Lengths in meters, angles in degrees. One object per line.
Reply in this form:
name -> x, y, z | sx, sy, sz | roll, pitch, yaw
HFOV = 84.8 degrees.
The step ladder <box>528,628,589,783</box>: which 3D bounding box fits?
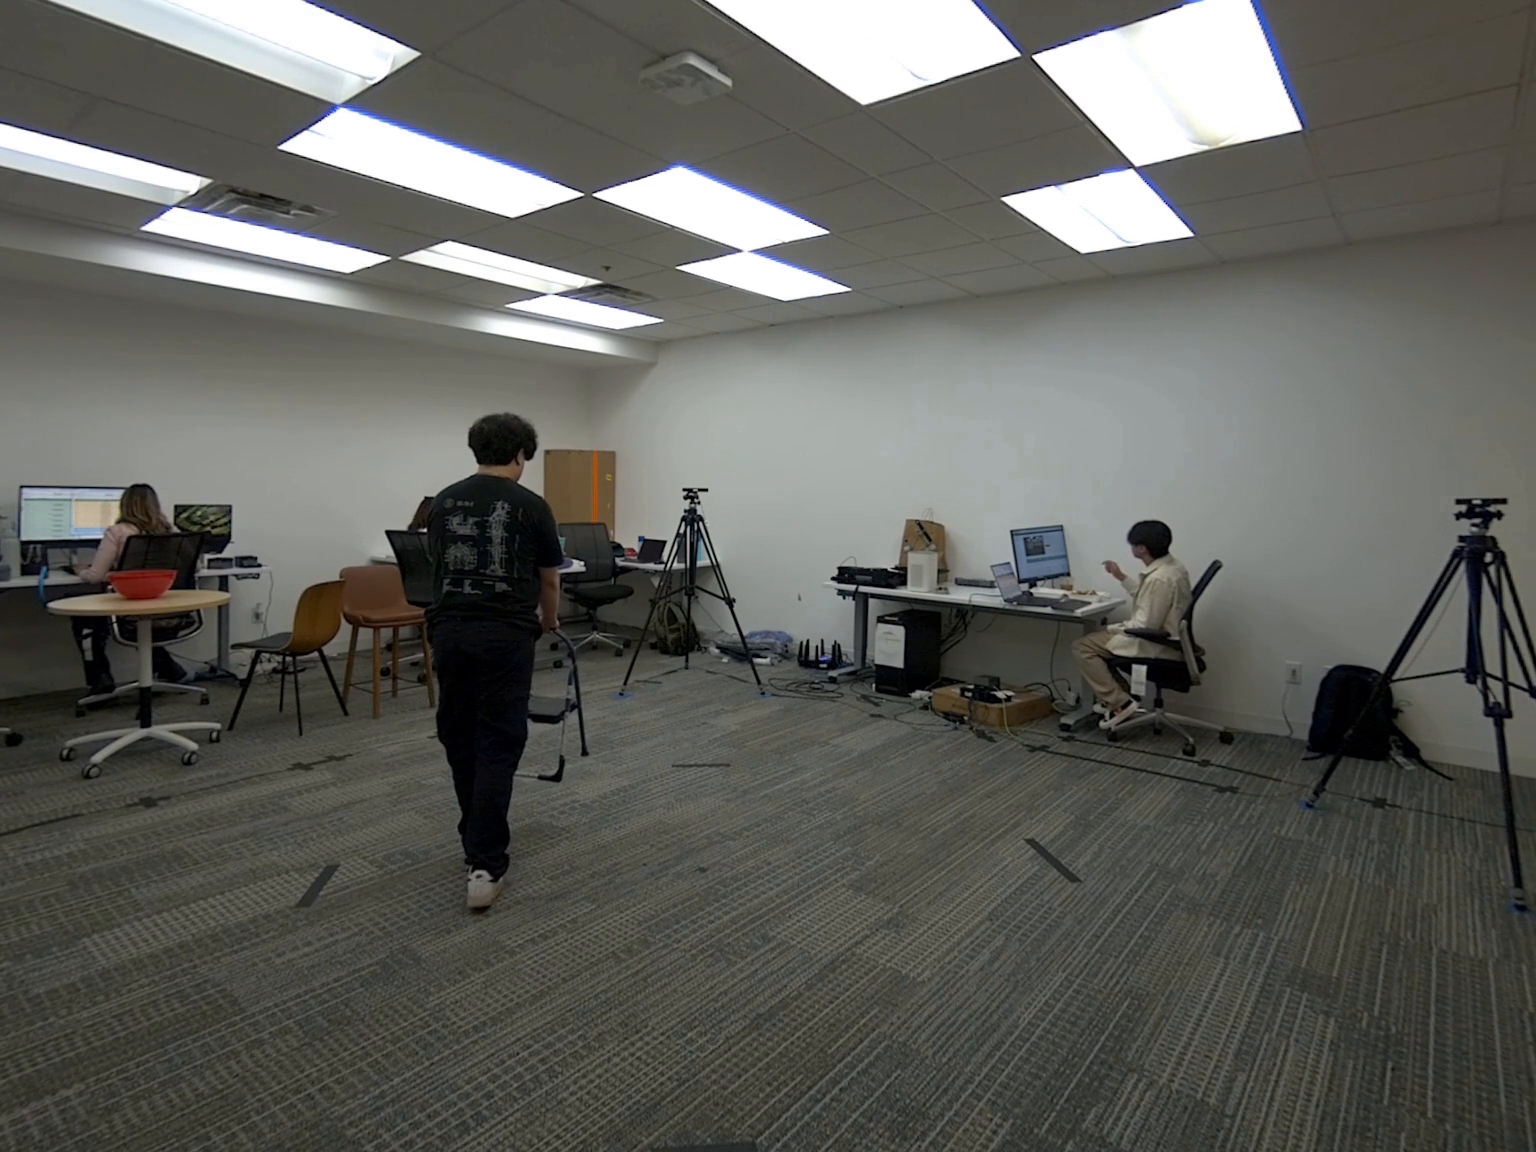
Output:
step ladder -> -0.997, 0.477, 3.484 | 0.435, 0.603, 0.348 | 4, 6, 7
